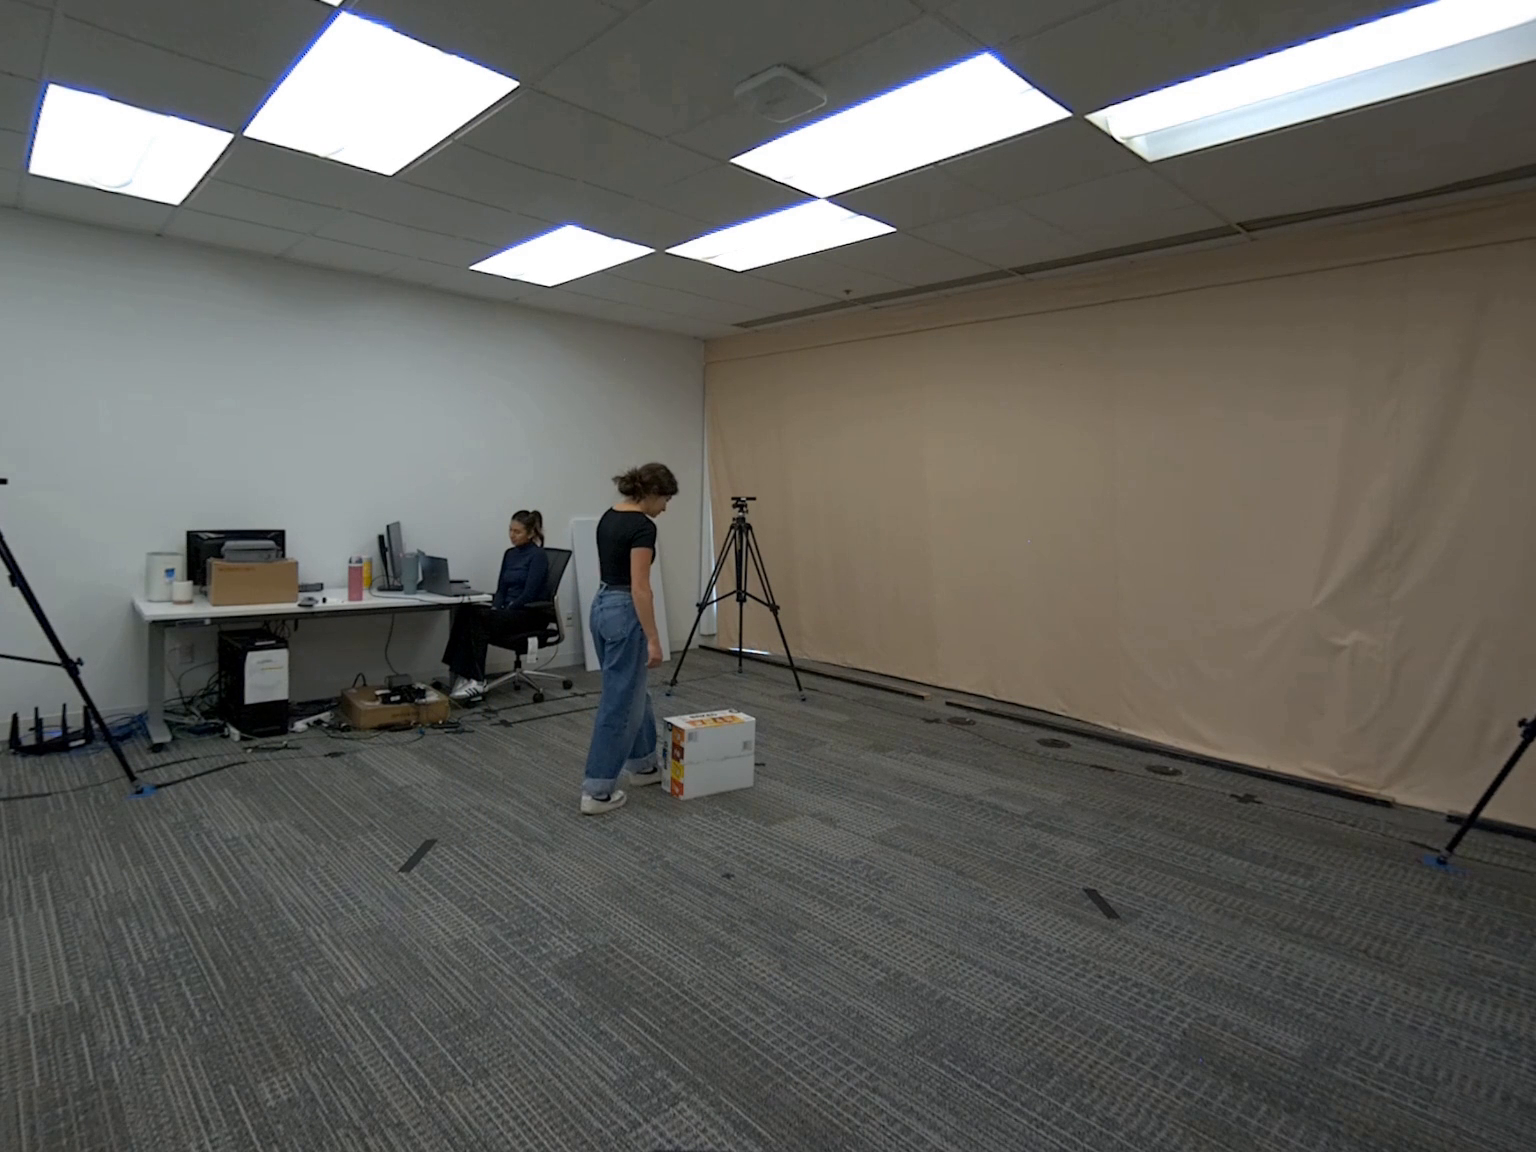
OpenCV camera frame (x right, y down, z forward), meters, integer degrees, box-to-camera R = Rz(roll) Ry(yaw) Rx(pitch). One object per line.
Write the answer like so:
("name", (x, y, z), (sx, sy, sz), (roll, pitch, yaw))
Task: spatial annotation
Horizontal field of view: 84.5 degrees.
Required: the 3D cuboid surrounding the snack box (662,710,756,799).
("snack box", (-0.295, 0.852, 4.053), (0.396, 0.339, 0.211), (-1, 6, -35))
